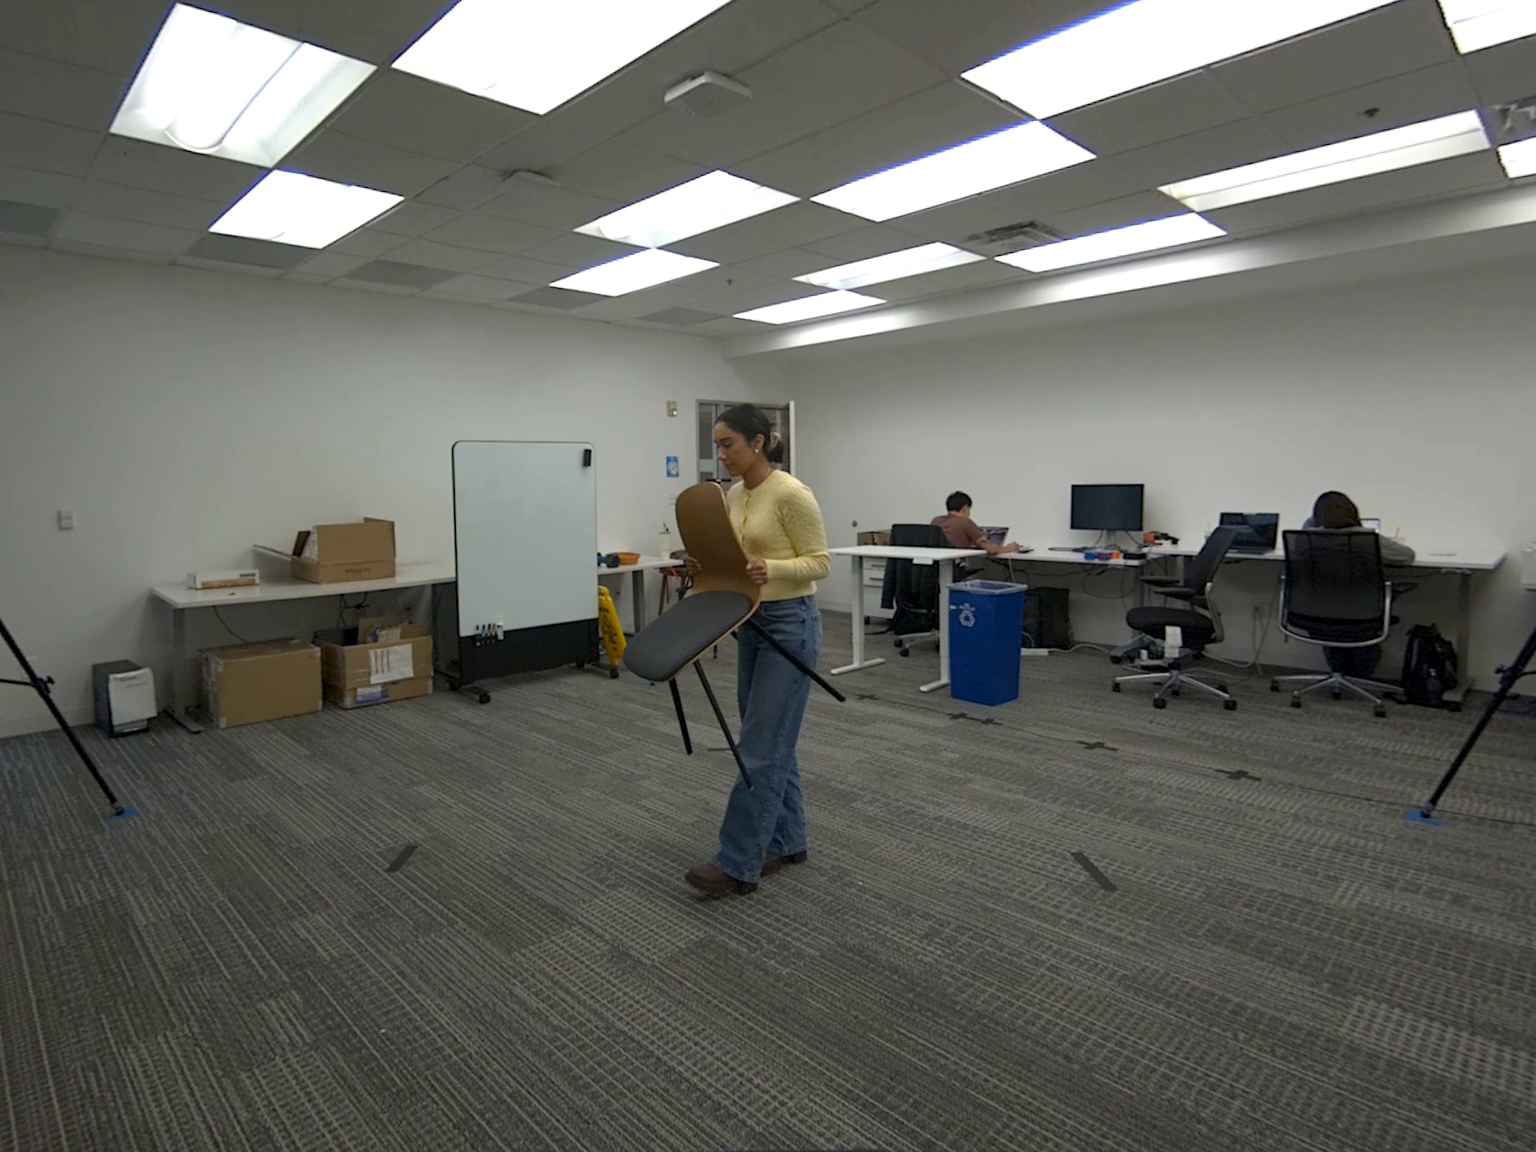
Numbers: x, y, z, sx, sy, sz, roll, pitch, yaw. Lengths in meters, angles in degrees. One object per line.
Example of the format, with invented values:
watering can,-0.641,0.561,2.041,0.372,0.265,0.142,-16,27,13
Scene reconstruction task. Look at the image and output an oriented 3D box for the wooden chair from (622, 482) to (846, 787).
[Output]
wooden chair,-0.222,0.191,2.868,0.519,0.861,0.491,-33,18,-25
